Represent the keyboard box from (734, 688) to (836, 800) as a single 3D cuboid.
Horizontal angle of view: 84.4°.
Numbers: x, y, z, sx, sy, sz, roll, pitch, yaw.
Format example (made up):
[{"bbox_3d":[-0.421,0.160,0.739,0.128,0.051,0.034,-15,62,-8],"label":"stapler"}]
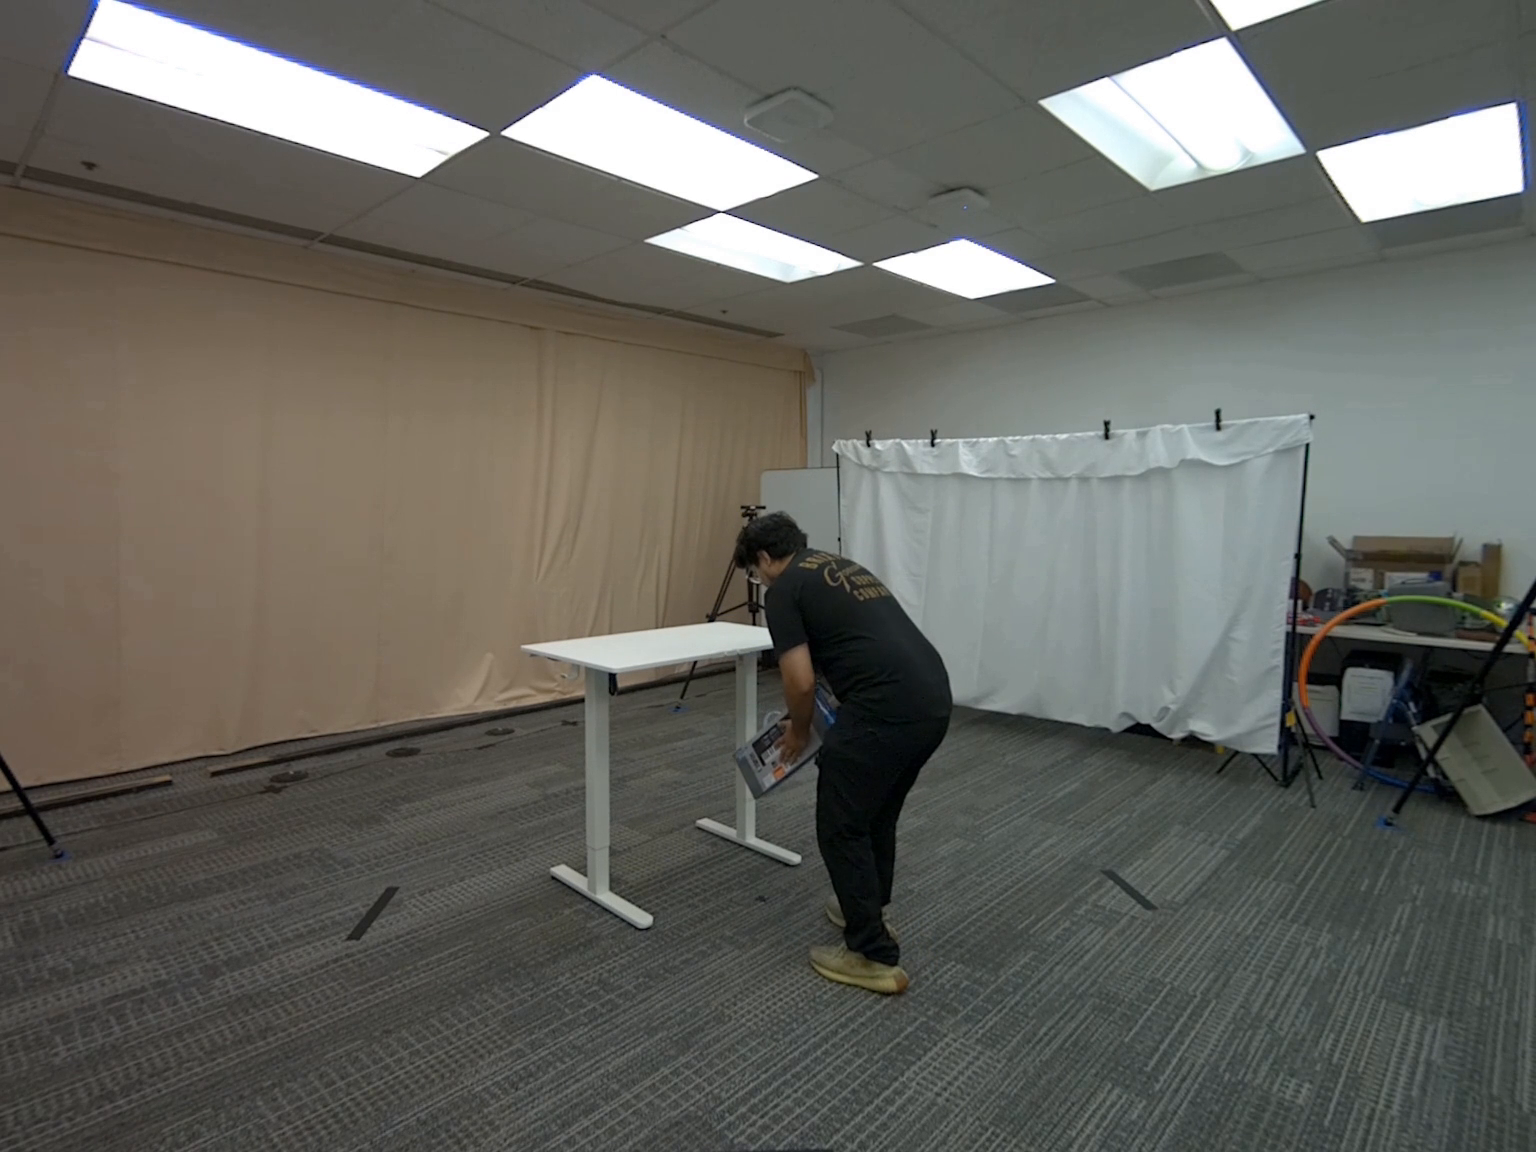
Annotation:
[{"bbox_3d":[0.061,0.567,2.779,0.057,0.180,0.440,-2,-35,-45],"label":"keyboard box"}]
